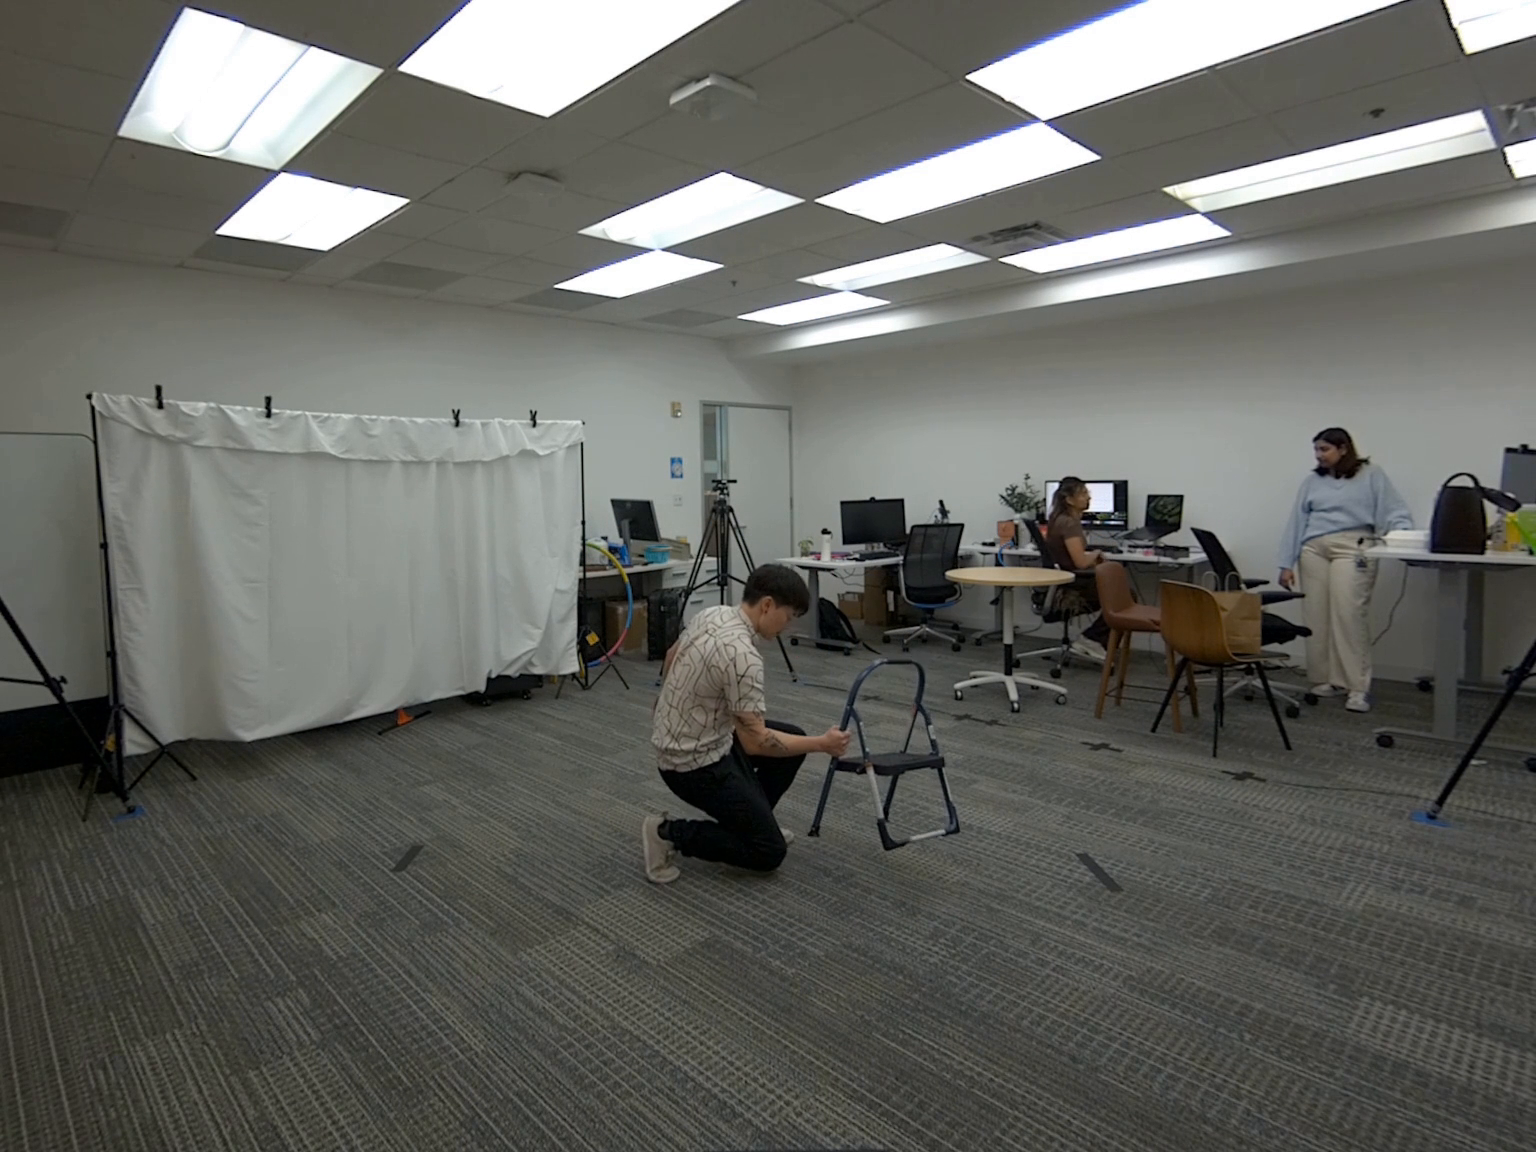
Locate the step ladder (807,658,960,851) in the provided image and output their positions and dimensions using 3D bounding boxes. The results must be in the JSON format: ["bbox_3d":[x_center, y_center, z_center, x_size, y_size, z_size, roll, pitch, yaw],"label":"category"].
[{"bbox_3d":[0.401,0.593,3.005,0.417,0.610,0.358,6,-10,-44],"label":"step ladder"}]
